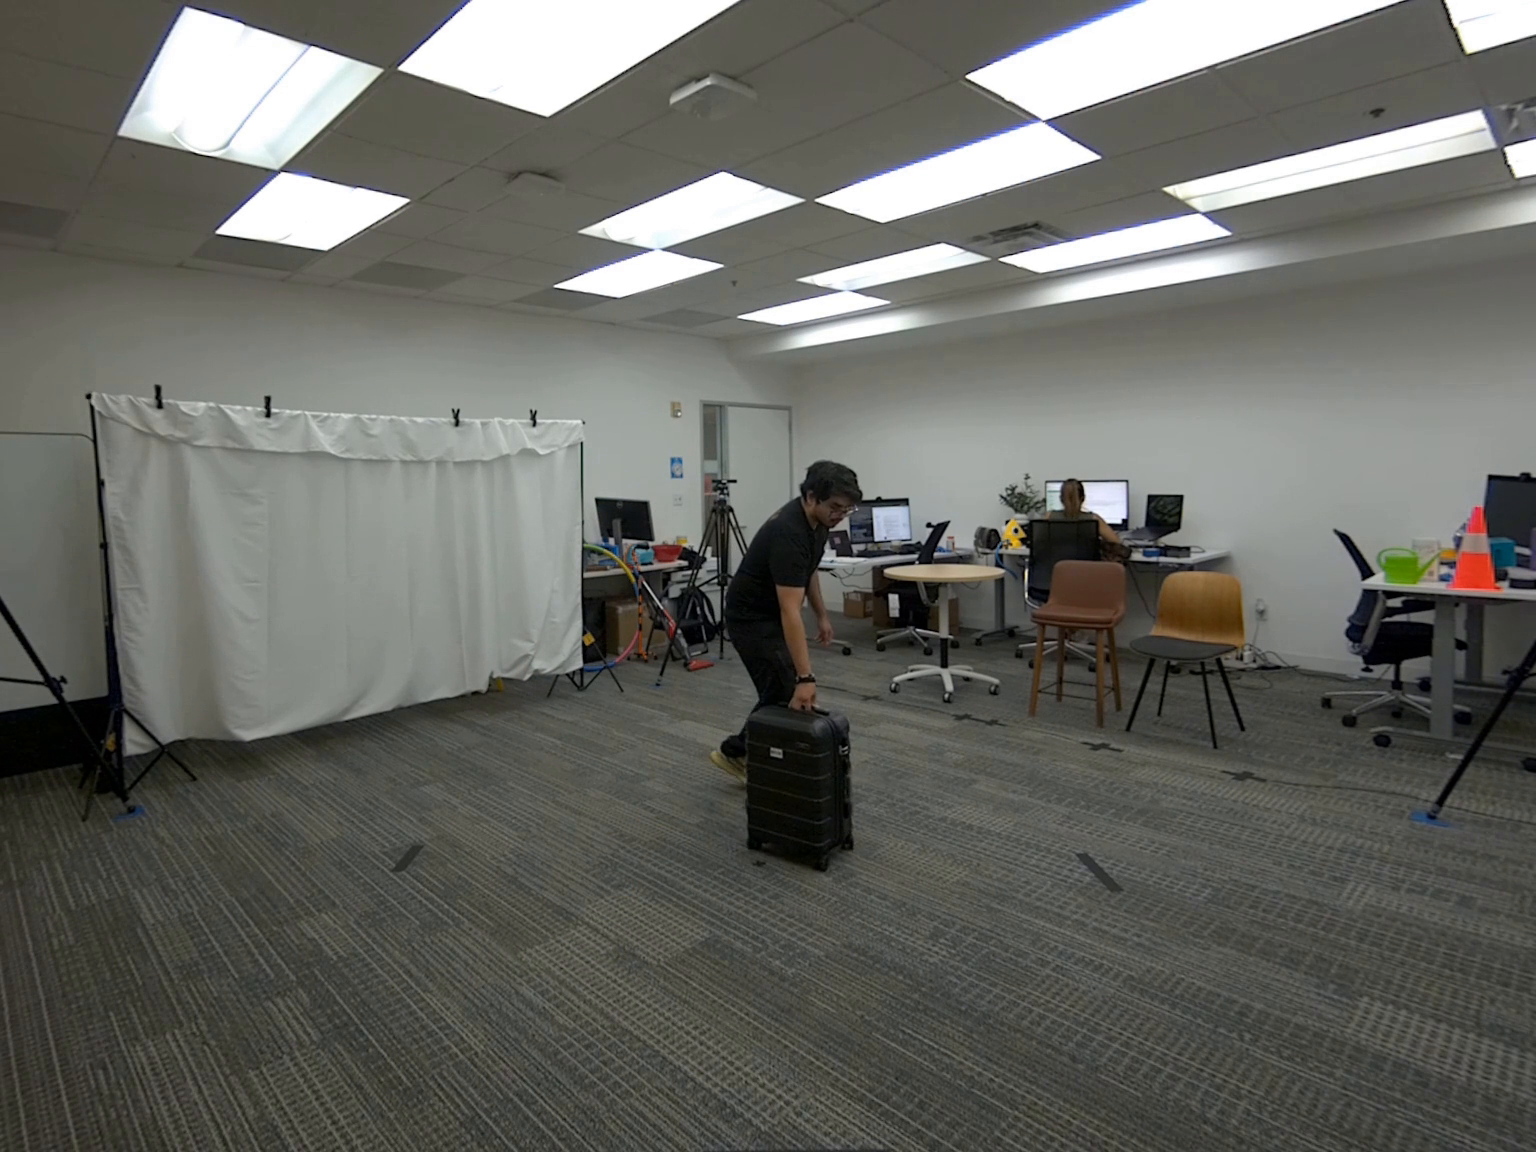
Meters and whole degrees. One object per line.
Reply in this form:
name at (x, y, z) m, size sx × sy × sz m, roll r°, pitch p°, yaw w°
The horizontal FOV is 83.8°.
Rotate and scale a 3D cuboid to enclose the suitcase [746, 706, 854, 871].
suitcase at (0.116, 0.767, 3.190) m, size 0.386 × 0.546 × 0.243 m, roll 1°, pitch 7°, yaw 35°
